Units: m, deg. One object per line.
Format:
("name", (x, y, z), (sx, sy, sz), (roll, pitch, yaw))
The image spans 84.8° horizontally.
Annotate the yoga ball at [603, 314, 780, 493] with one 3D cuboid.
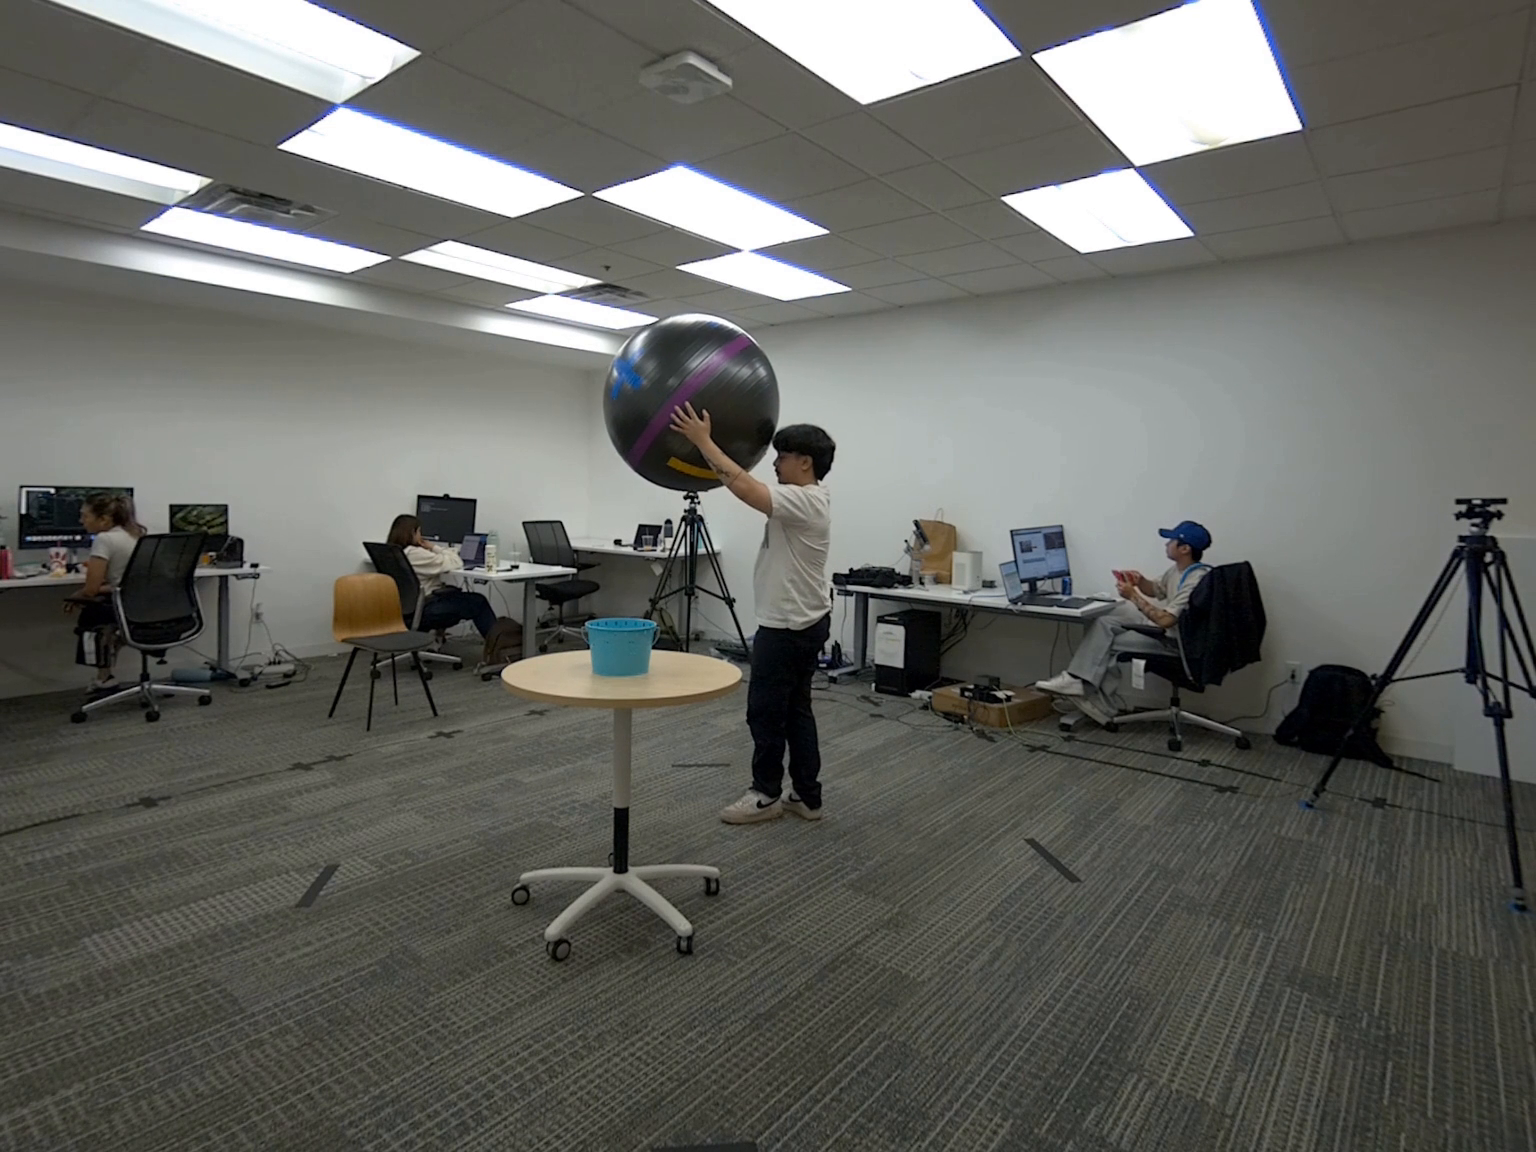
("yoga ball", (-0.336, -0.741, 3.662), (0.757, 0.755, 0.762), (1, 4, -2))
